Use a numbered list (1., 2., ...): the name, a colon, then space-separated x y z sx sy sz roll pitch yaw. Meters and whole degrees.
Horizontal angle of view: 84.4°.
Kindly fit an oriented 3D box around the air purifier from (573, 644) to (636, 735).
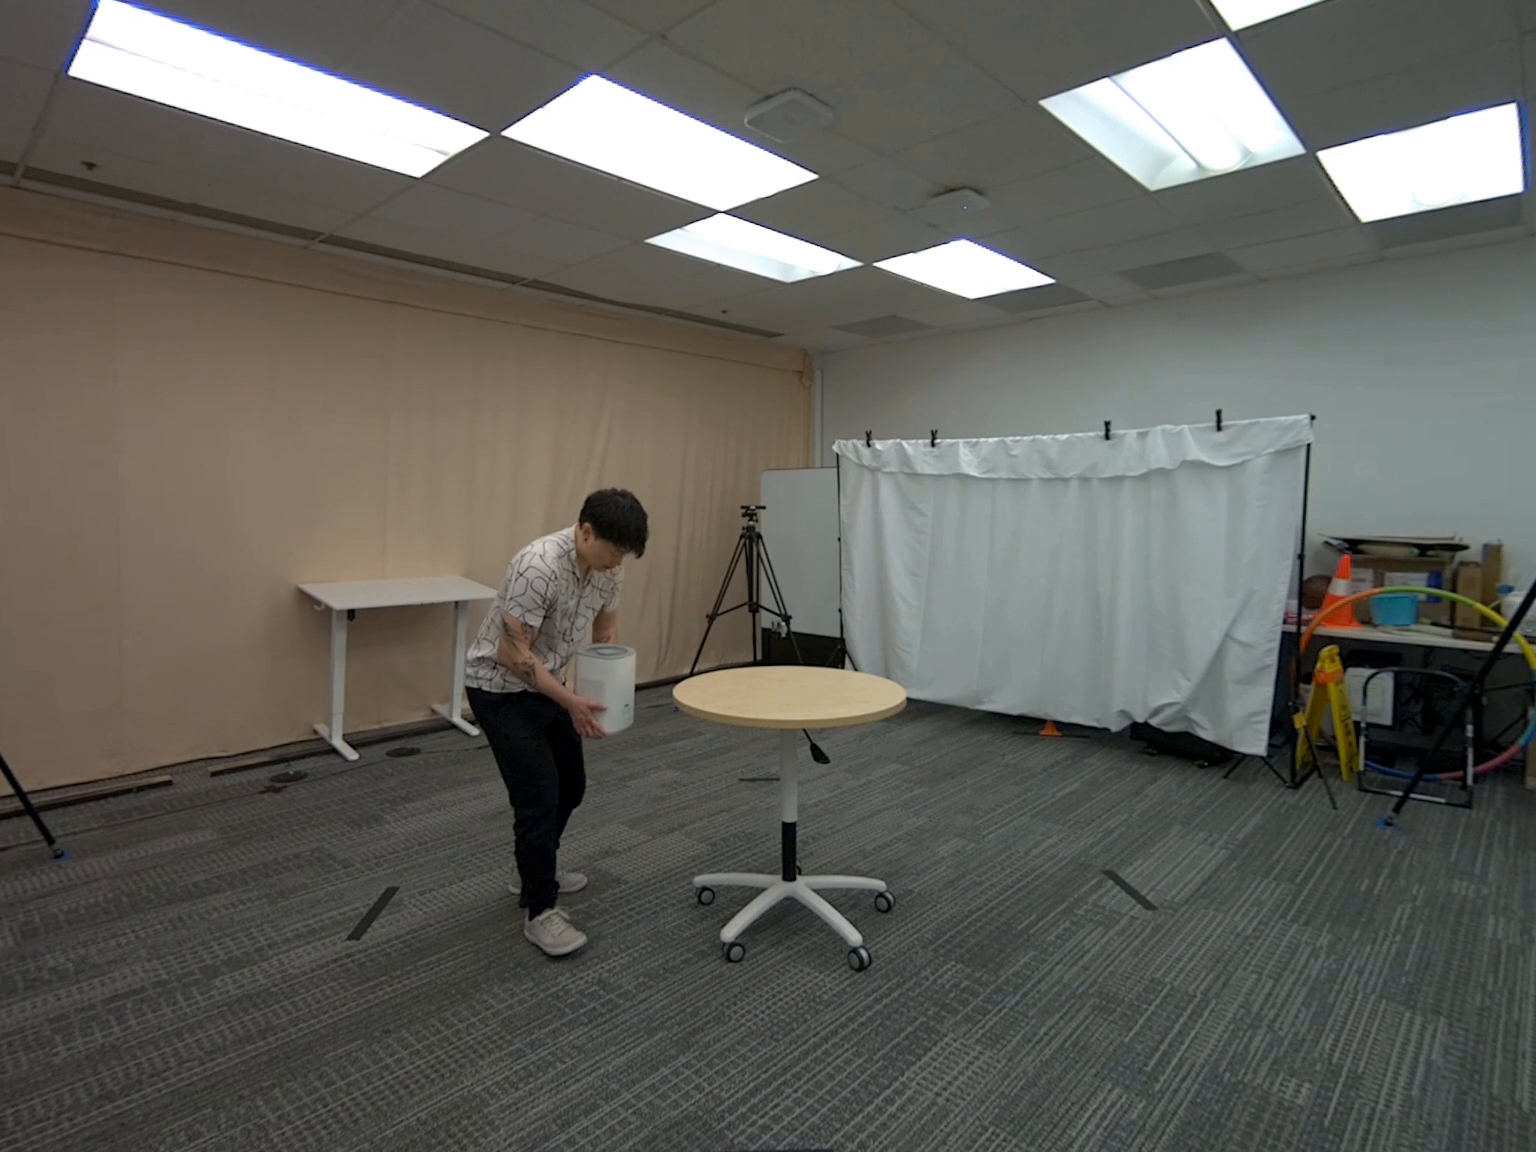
1. air purifier: -0.532 0.377 2.728 0.176 0.264 0.168 7 7 21
